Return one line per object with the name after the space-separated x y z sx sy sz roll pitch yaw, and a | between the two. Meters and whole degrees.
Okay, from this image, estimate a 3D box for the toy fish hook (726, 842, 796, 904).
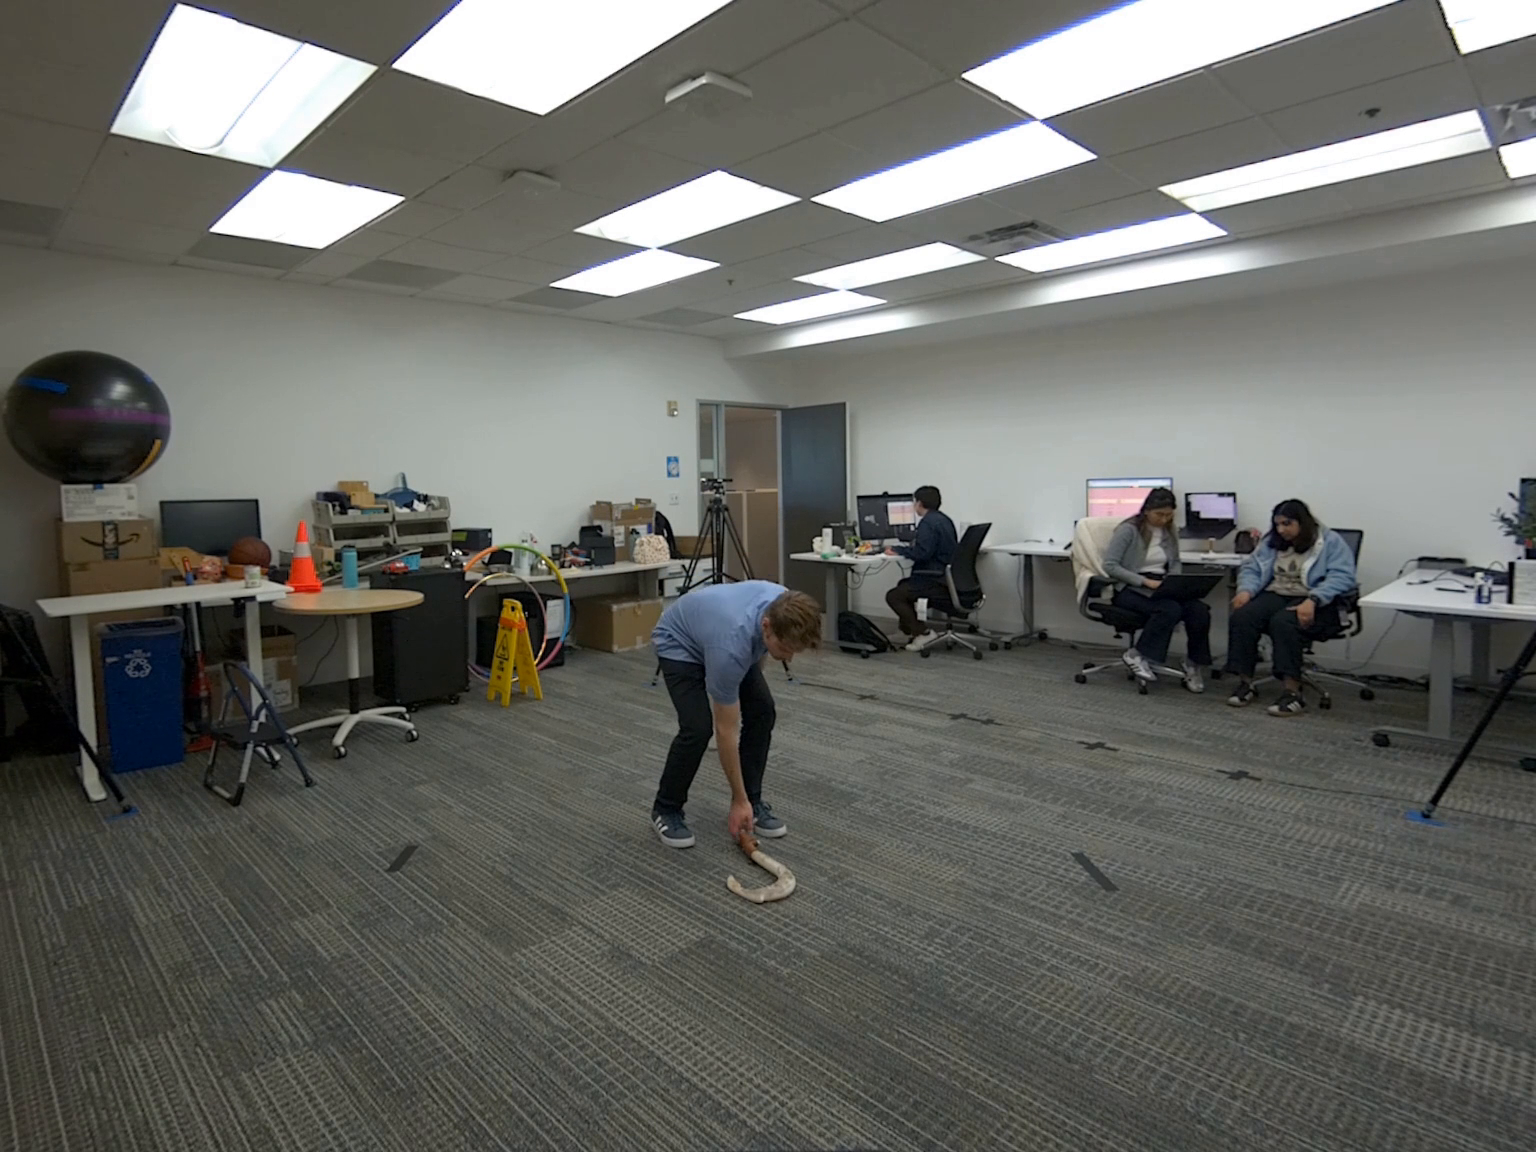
-0.069 1.033 3.052 0.221 0.048 0.517 -3 7 -19 | toy fish hook
